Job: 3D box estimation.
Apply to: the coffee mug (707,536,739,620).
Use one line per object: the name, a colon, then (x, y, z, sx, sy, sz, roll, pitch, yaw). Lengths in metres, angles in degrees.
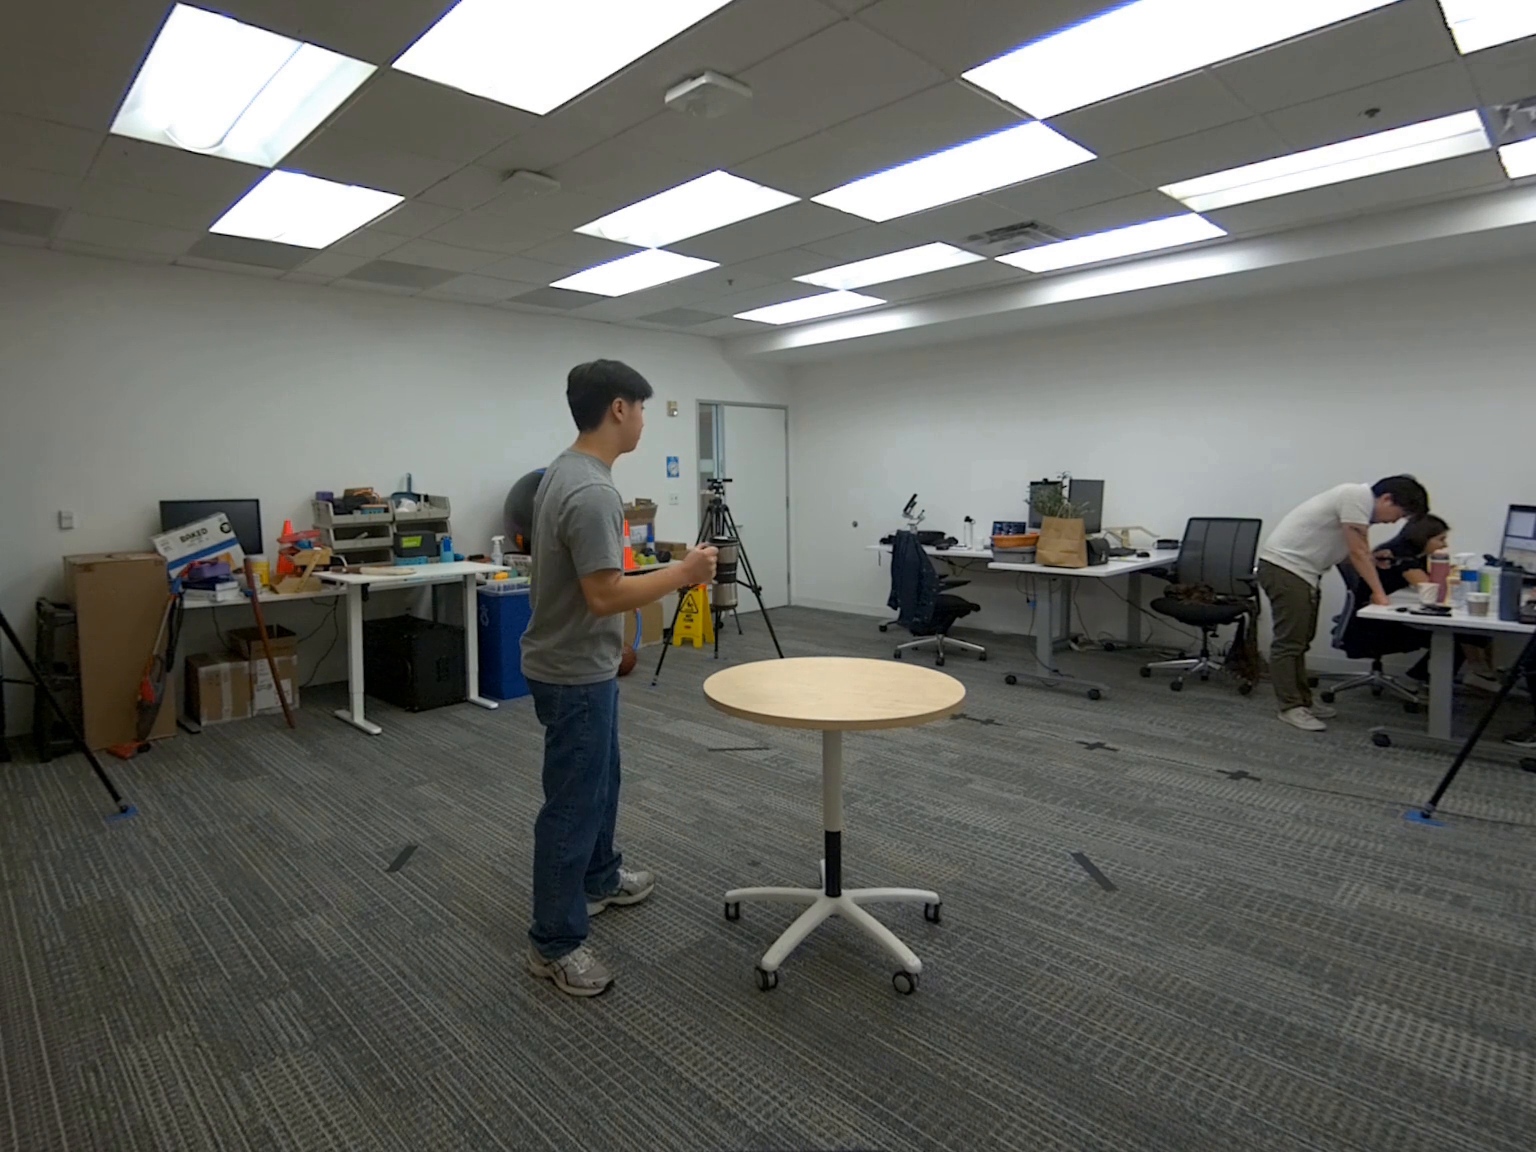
coffee mug: (-0.151, -0.012, 2.414, 0.124, 0.201, 0.087, 3, 9, 20)
